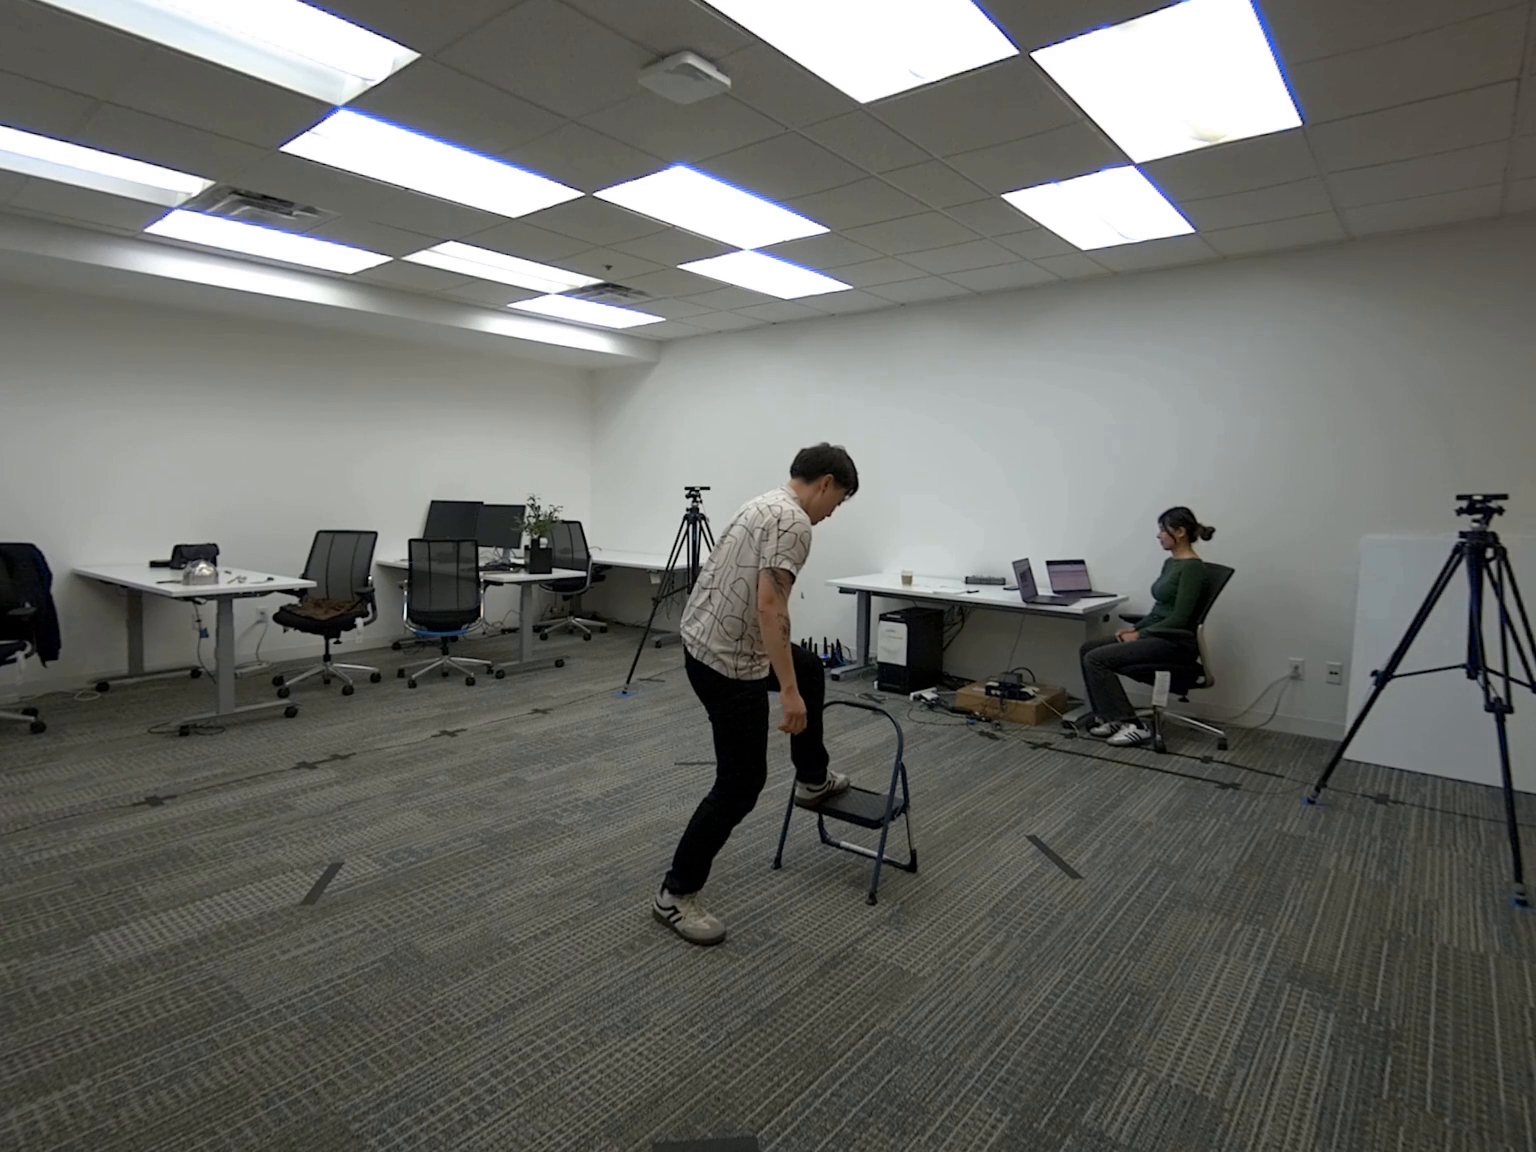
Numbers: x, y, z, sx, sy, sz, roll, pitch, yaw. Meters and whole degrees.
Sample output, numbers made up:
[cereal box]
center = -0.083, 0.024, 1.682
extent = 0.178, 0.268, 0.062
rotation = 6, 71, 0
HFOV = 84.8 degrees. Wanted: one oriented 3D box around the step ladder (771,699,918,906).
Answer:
[step ladder]
center = 0.285, 0.770, 3.104
extent = 0.445, 0.604, 0.339
rotation = 4, 4, 38
